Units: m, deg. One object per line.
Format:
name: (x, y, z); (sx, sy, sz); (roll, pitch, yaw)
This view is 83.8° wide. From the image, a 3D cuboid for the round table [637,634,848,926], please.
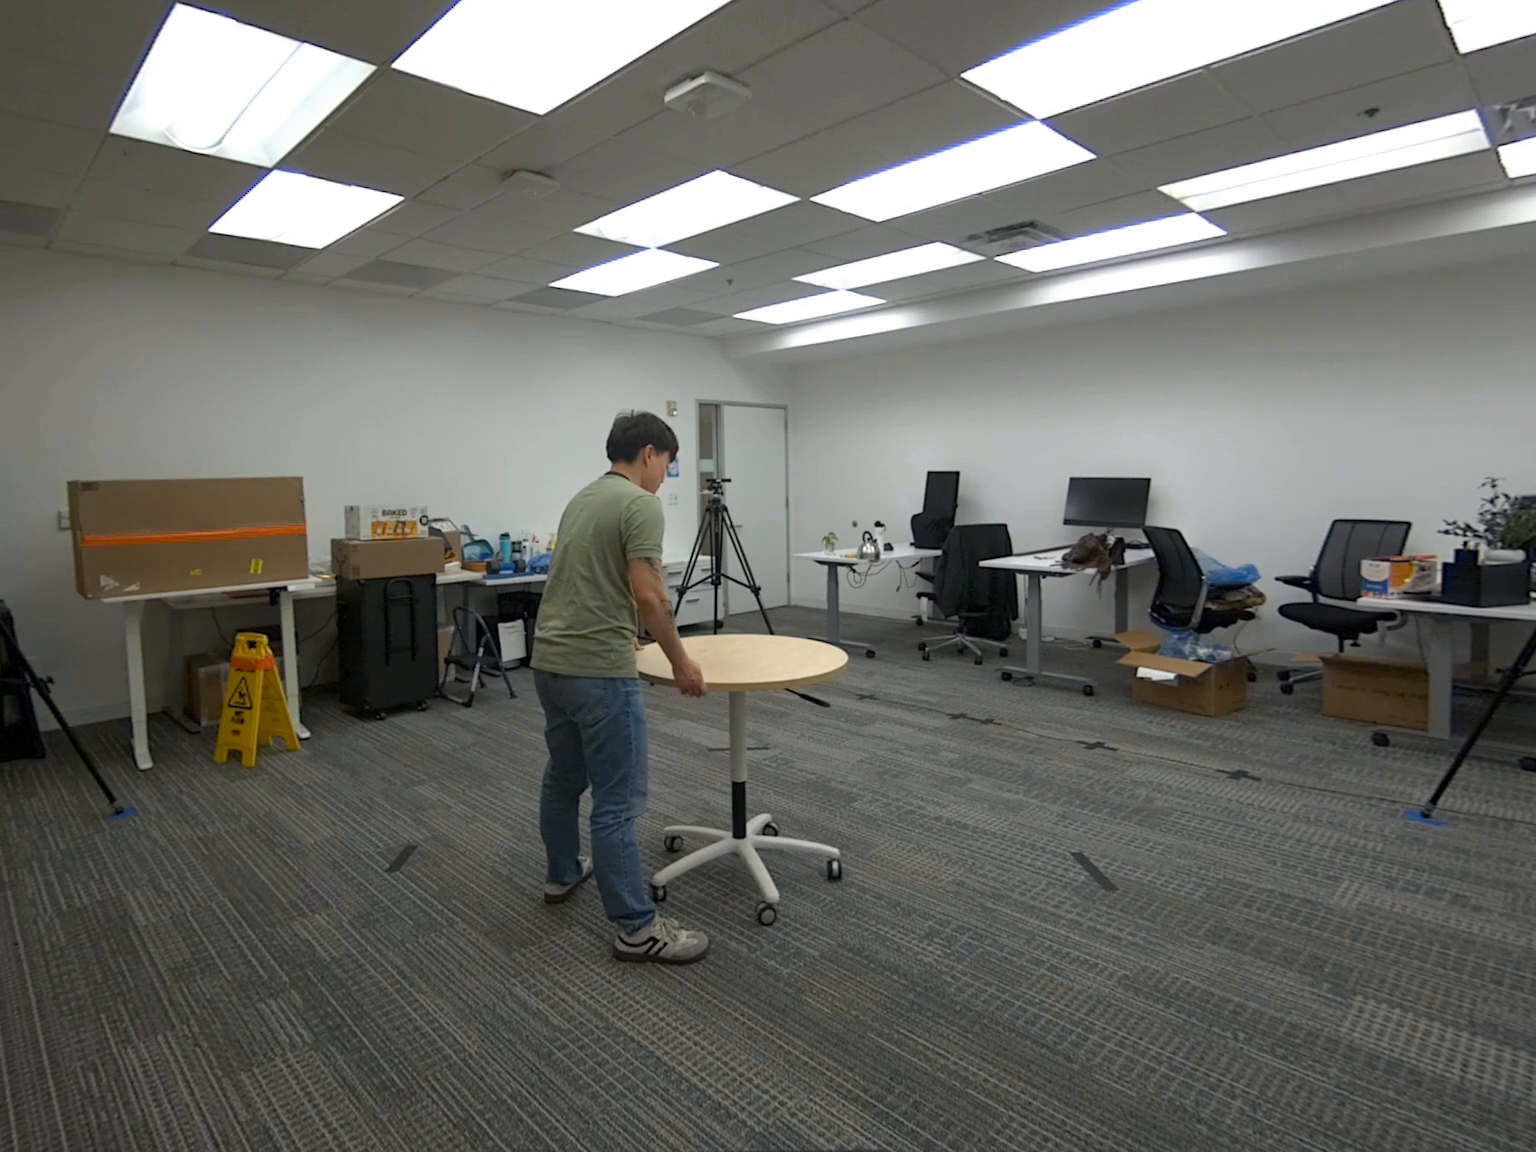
round table: (-0.099, 0.668, 2.990); (0.763, 0.791, 0.768); (-1, 5, -2)
